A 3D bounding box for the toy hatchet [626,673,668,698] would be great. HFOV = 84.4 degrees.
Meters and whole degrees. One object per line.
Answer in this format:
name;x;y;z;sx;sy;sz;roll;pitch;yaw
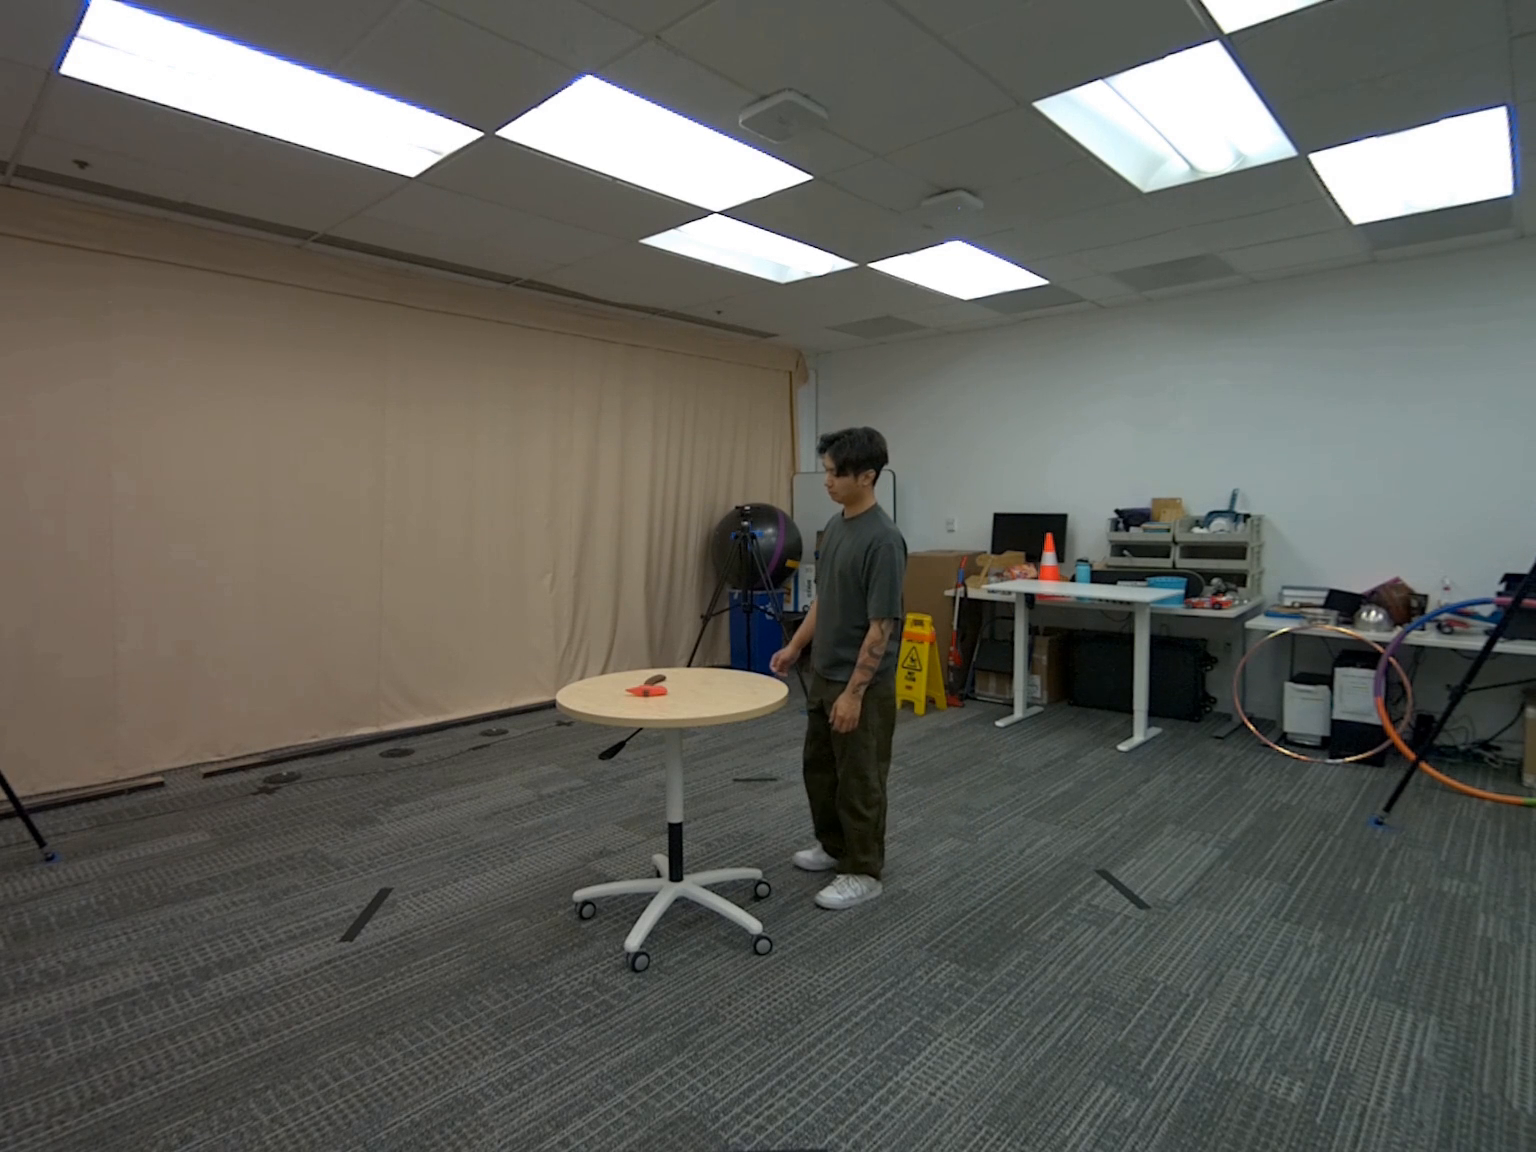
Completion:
toy hatchet;-0.368;0.367;2.819;0.133;0.029;0.266;1;4;16
